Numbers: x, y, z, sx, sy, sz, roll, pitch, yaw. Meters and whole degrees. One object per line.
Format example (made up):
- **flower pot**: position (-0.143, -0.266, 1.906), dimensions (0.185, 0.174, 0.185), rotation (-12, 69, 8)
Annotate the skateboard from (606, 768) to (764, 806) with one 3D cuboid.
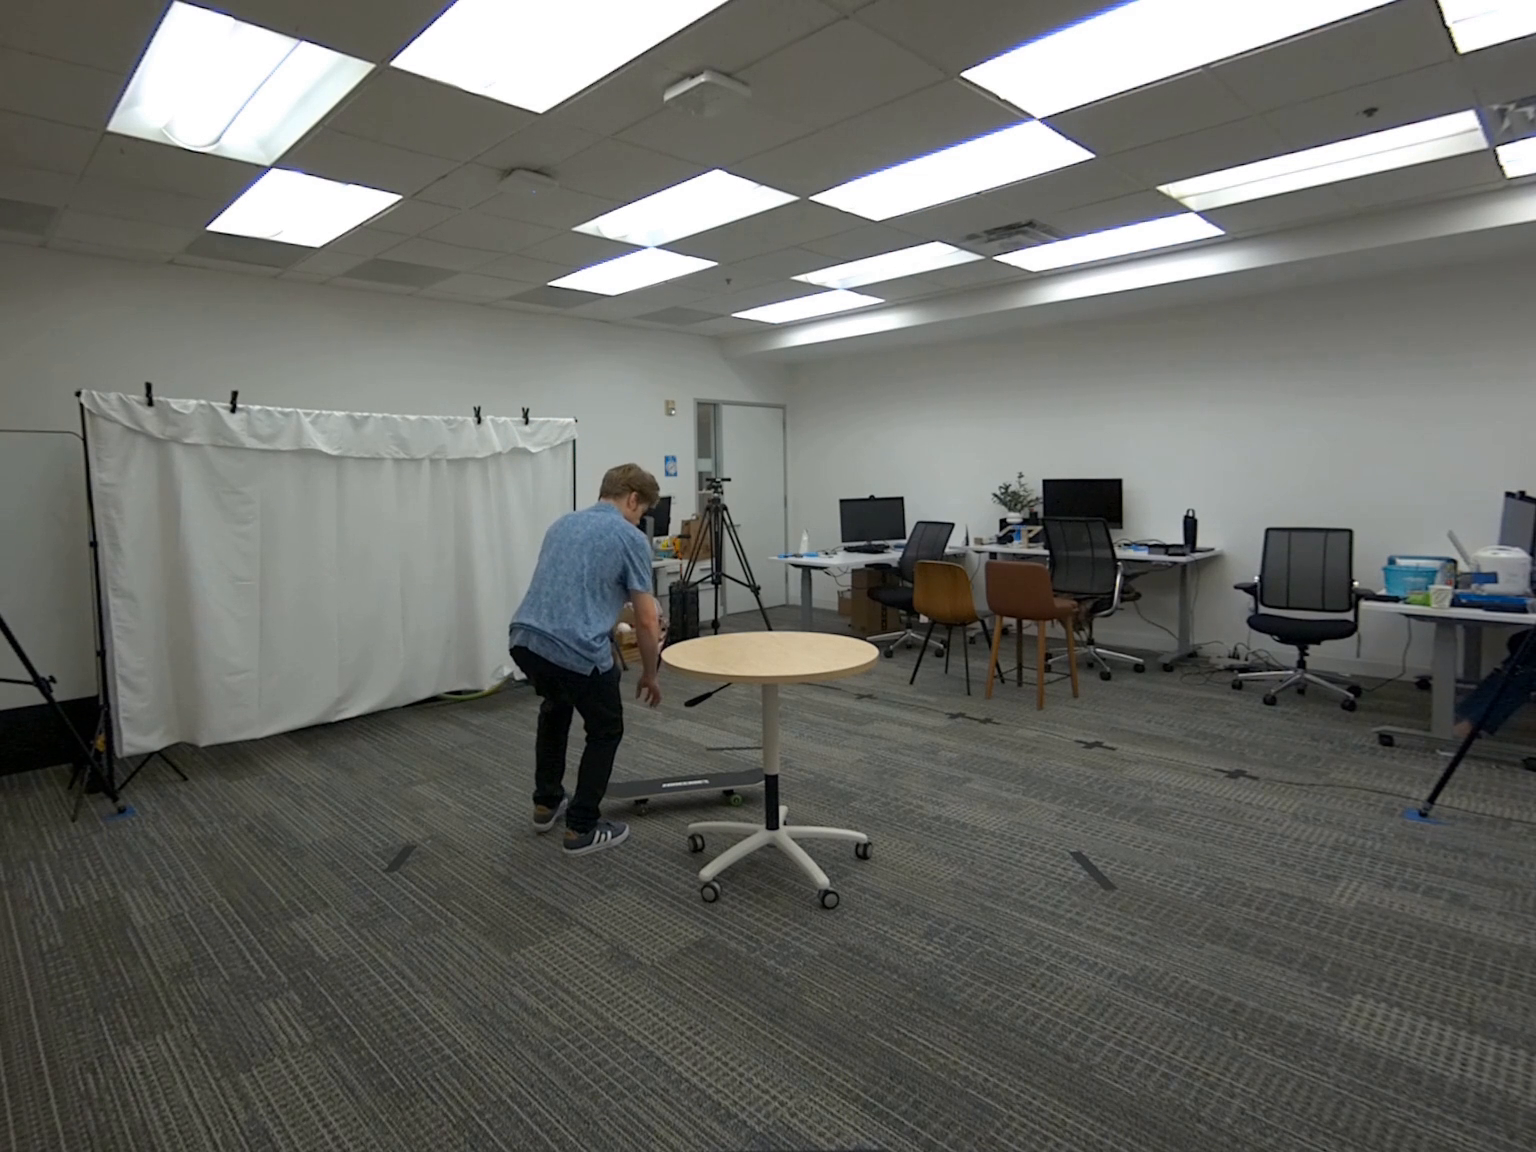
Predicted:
- **skateboard**: position (-0.353, 0.928, 3.686), dimensions (0.777, 0.110, 0.196), rotation (-3, 5, -12)
